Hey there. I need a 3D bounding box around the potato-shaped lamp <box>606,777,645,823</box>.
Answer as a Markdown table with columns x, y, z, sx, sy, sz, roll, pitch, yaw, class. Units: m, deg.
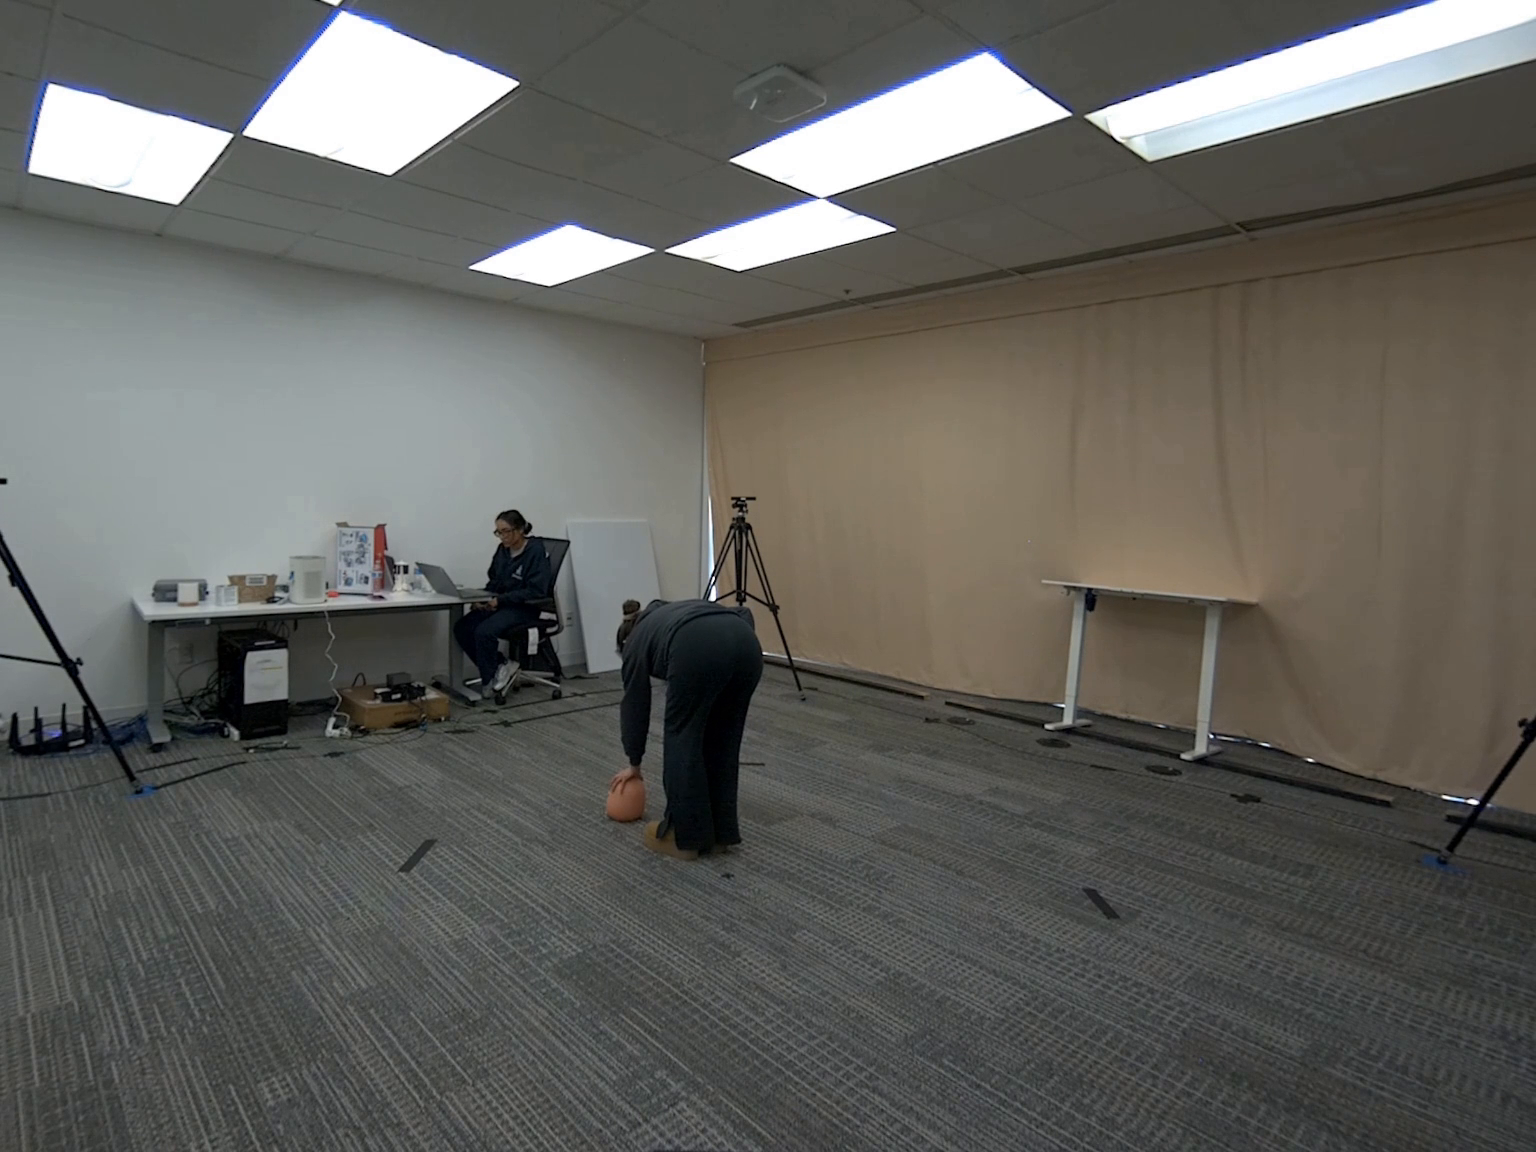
| x | y | z | sx | sy | sz | roll | pitch | yaw | class |
| --- | --- | --- | --- | --- | --- | --- | --- | --- | --- |
| -0.623 | 0.950 | 3.649 | 0.176 | 0.197 | 0.161 | 12 | 10 | 35 | potato-shaped lamp |
